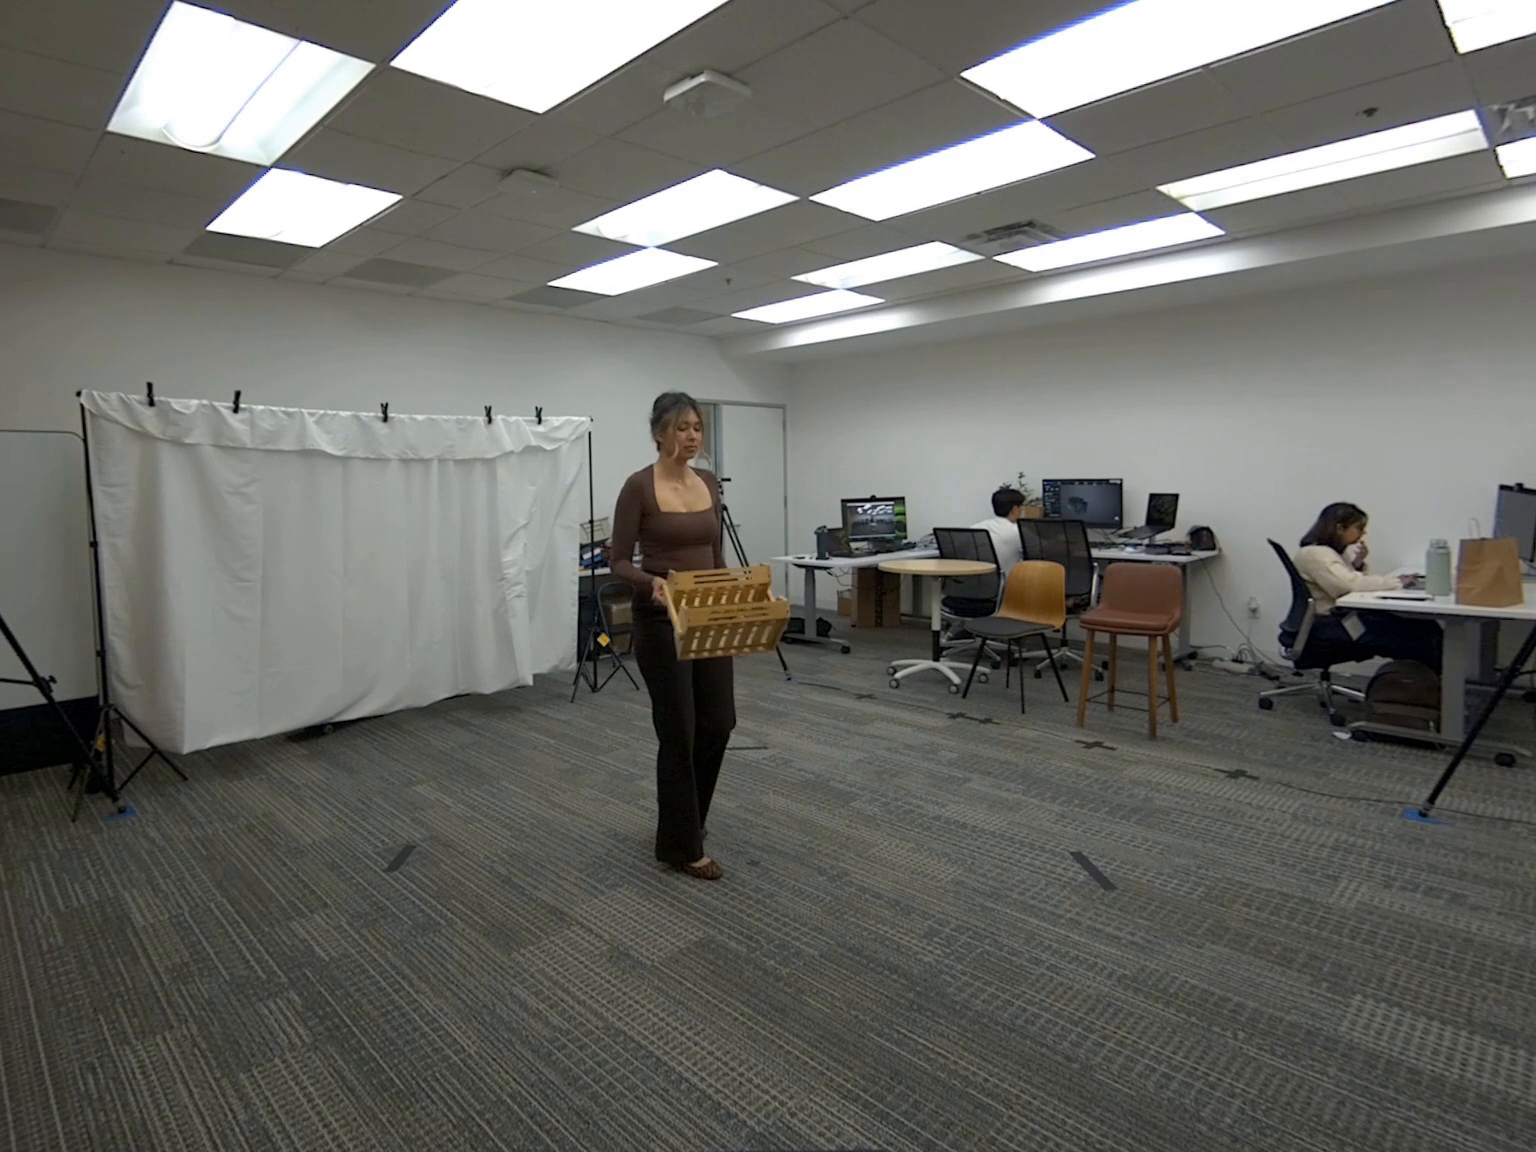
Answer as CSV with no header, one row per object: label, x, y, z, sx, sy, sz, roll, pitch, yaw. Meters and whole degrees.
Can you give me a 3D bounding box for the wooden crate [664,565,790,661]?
wooden crate,-0.136,0.078,2.602,0.321,0.281,0.297,-5,-30,-14
